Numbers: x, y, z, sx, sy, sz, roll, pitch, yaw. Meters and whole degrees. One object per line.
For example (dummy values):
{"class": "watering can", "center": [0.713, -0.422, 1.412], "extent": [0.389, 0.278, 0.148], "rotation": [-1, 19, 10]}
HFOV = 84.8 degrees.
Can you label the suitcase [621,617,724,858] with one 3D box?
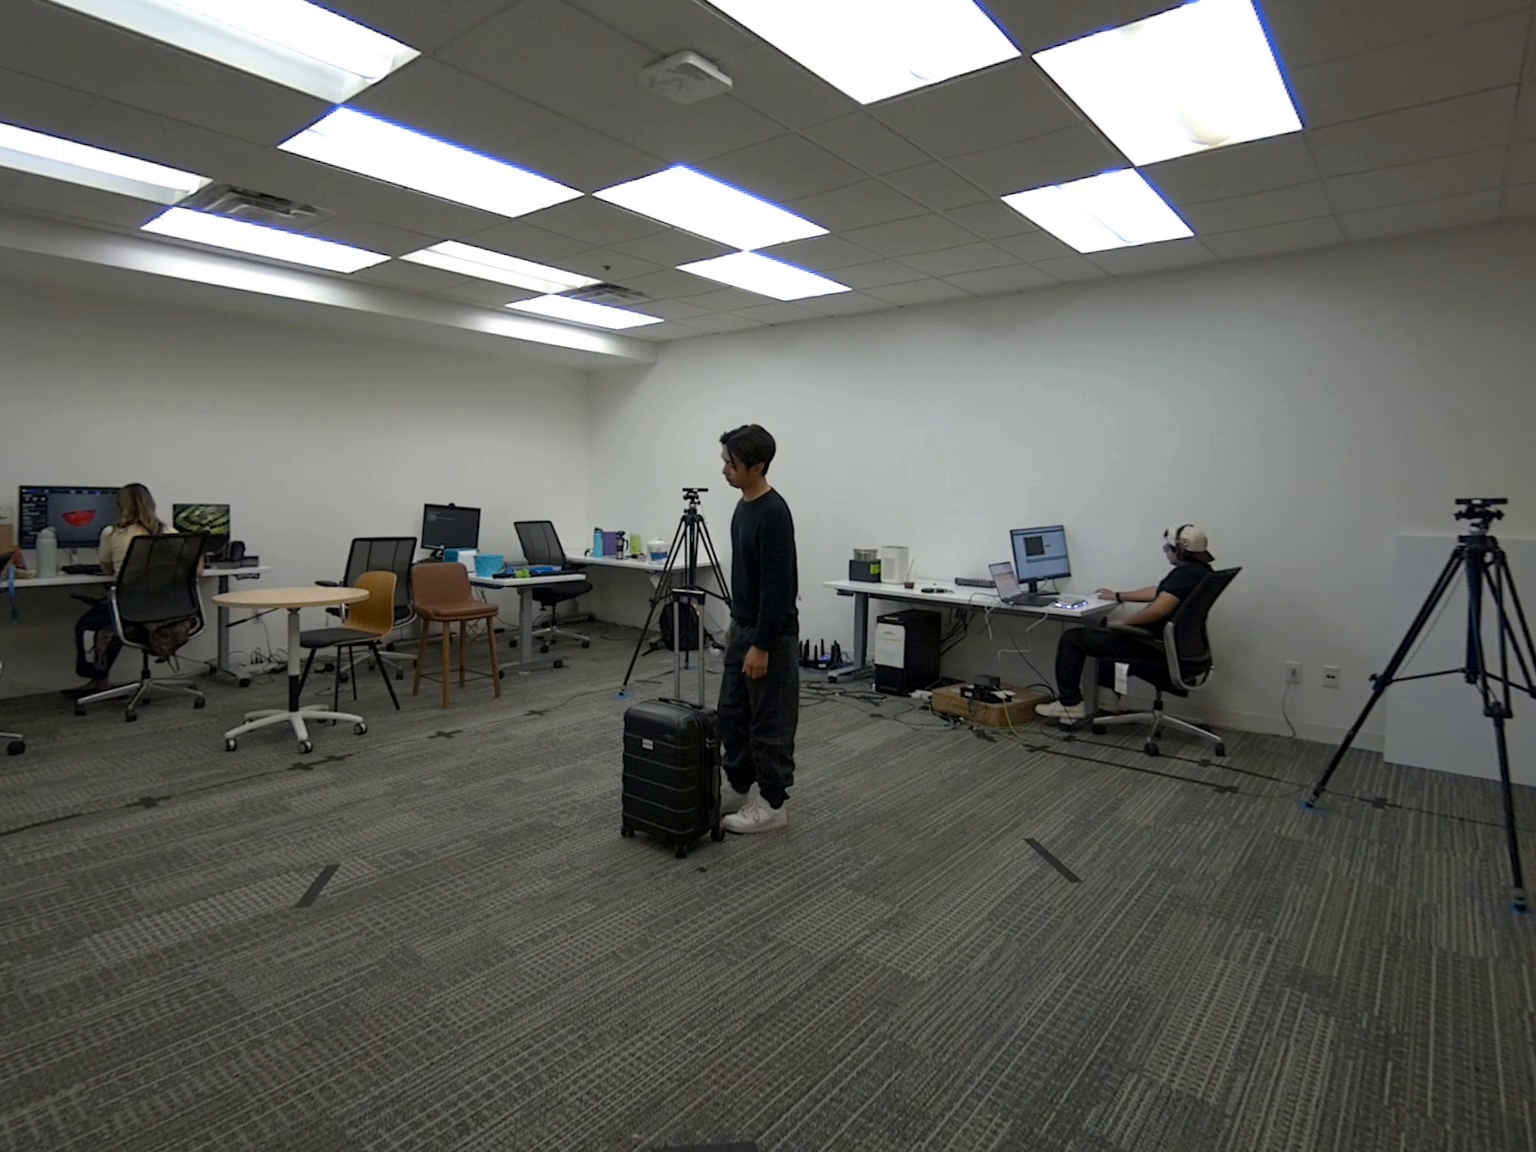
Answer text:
{"class": "suitcase", "center": [-0.393, 0.570, 3.338], "extent": [0.397, 0.974, 0.250], "rotation": [4, 6, 39]}
